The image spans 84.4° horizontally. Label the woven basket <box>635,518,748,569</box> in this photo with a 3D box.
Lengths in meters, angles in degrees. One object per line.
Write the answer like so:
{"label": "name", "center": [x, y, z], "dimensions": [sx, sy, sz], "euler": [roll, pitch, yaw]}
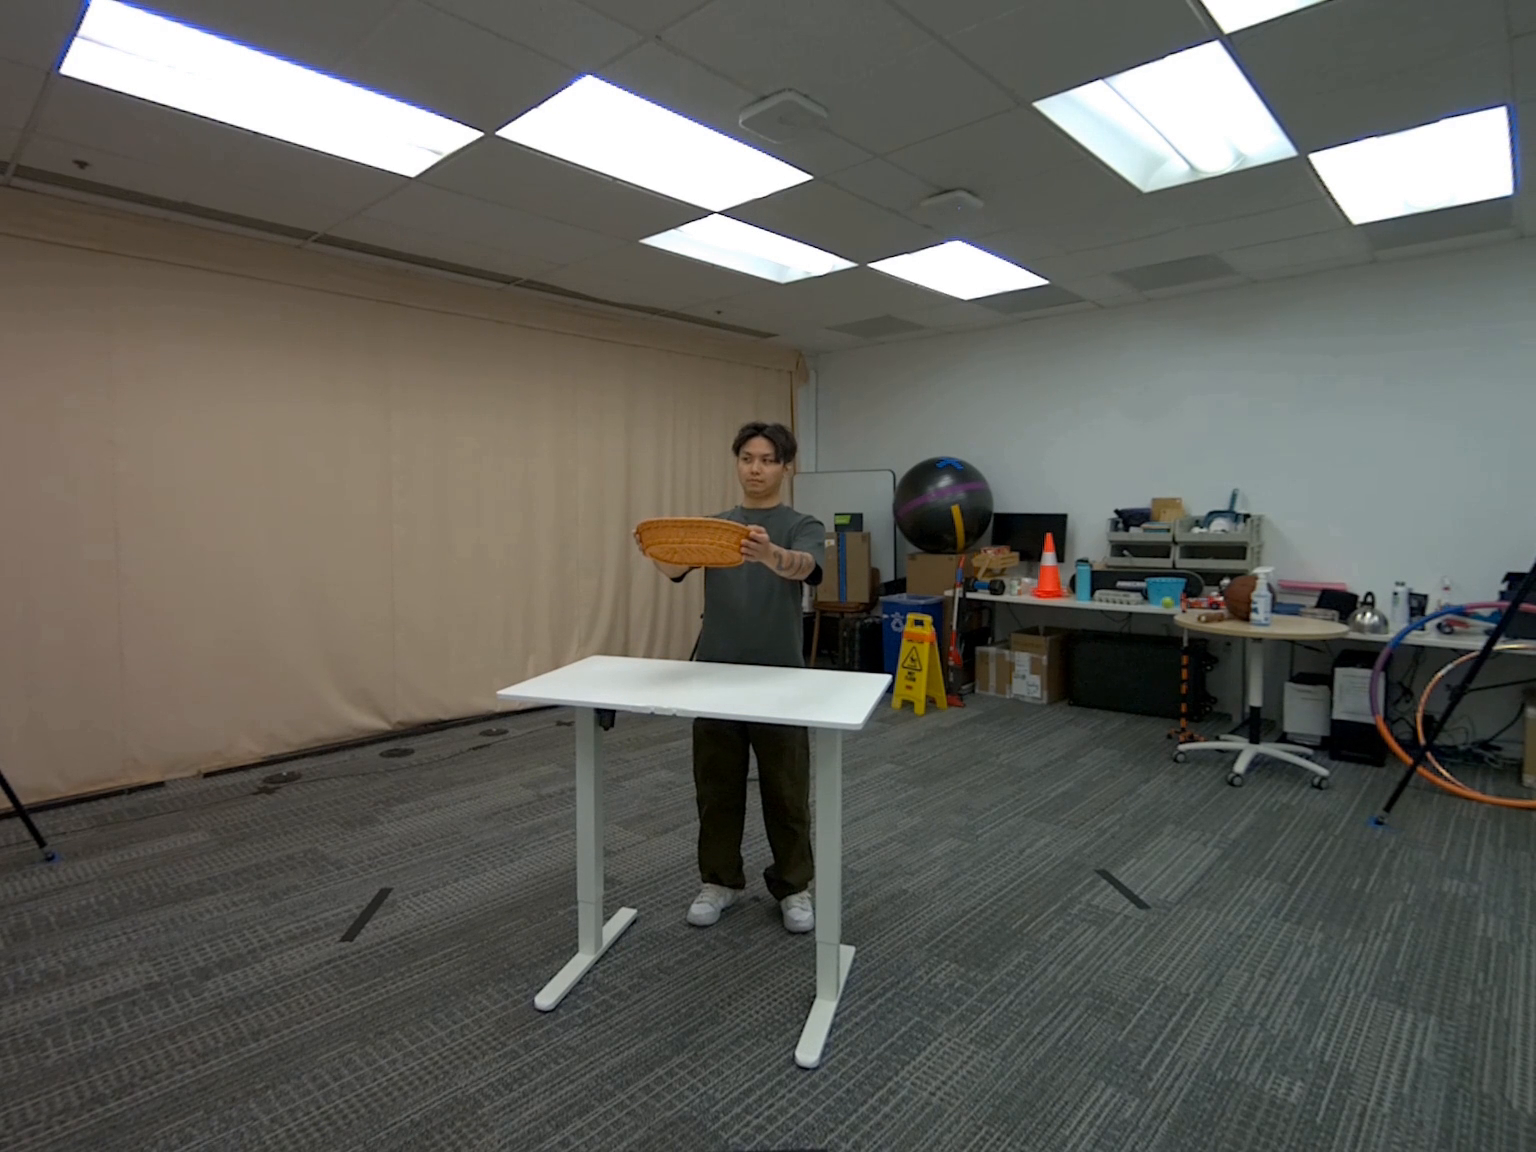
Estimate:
{"label": "woven basket", "center": [-0.180, -0.083, 2.340], "dimensions": [0.360, 0.074, 0.243], "euler": [-3, -18, 31]}
